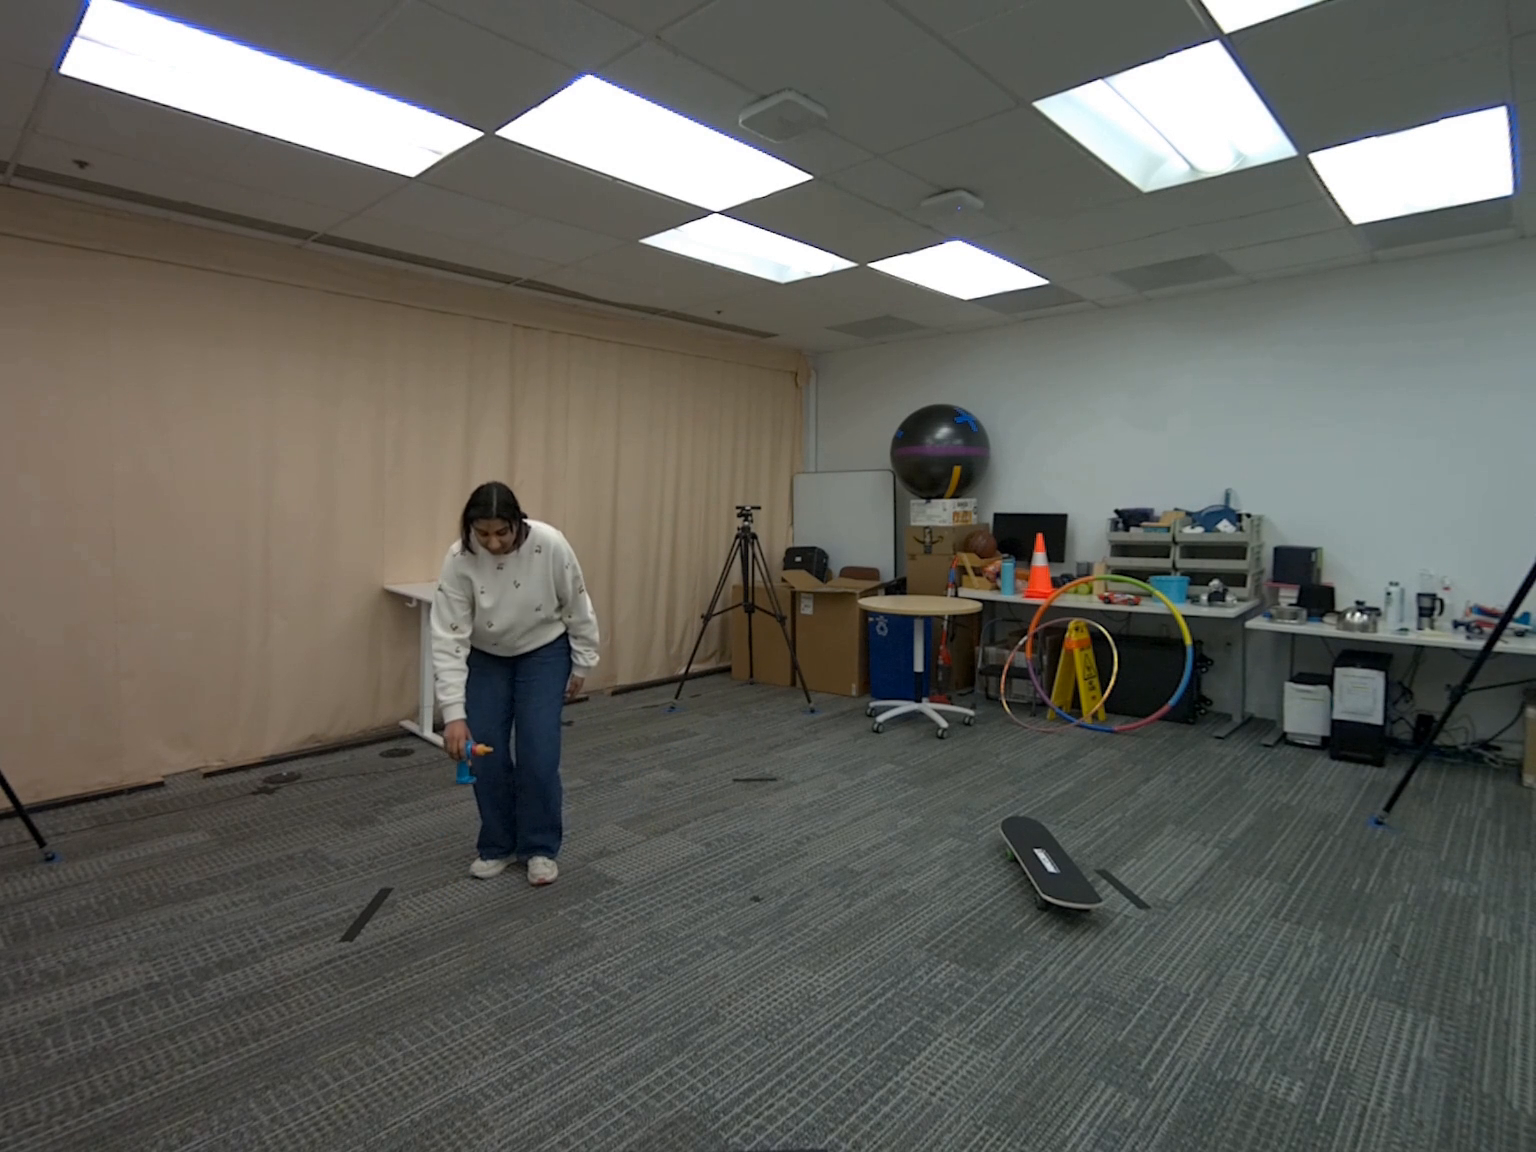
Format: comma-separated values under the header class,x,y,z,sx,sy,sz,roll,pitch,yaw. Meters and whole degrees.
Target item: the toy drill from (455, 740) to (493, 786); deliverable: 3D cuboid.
class,x,y,z,sx,sy,sz,roll,pitch,yaw
toy drill,-0.994,0.624,2.847,0.173,0.146,0.060,-5,1,19
